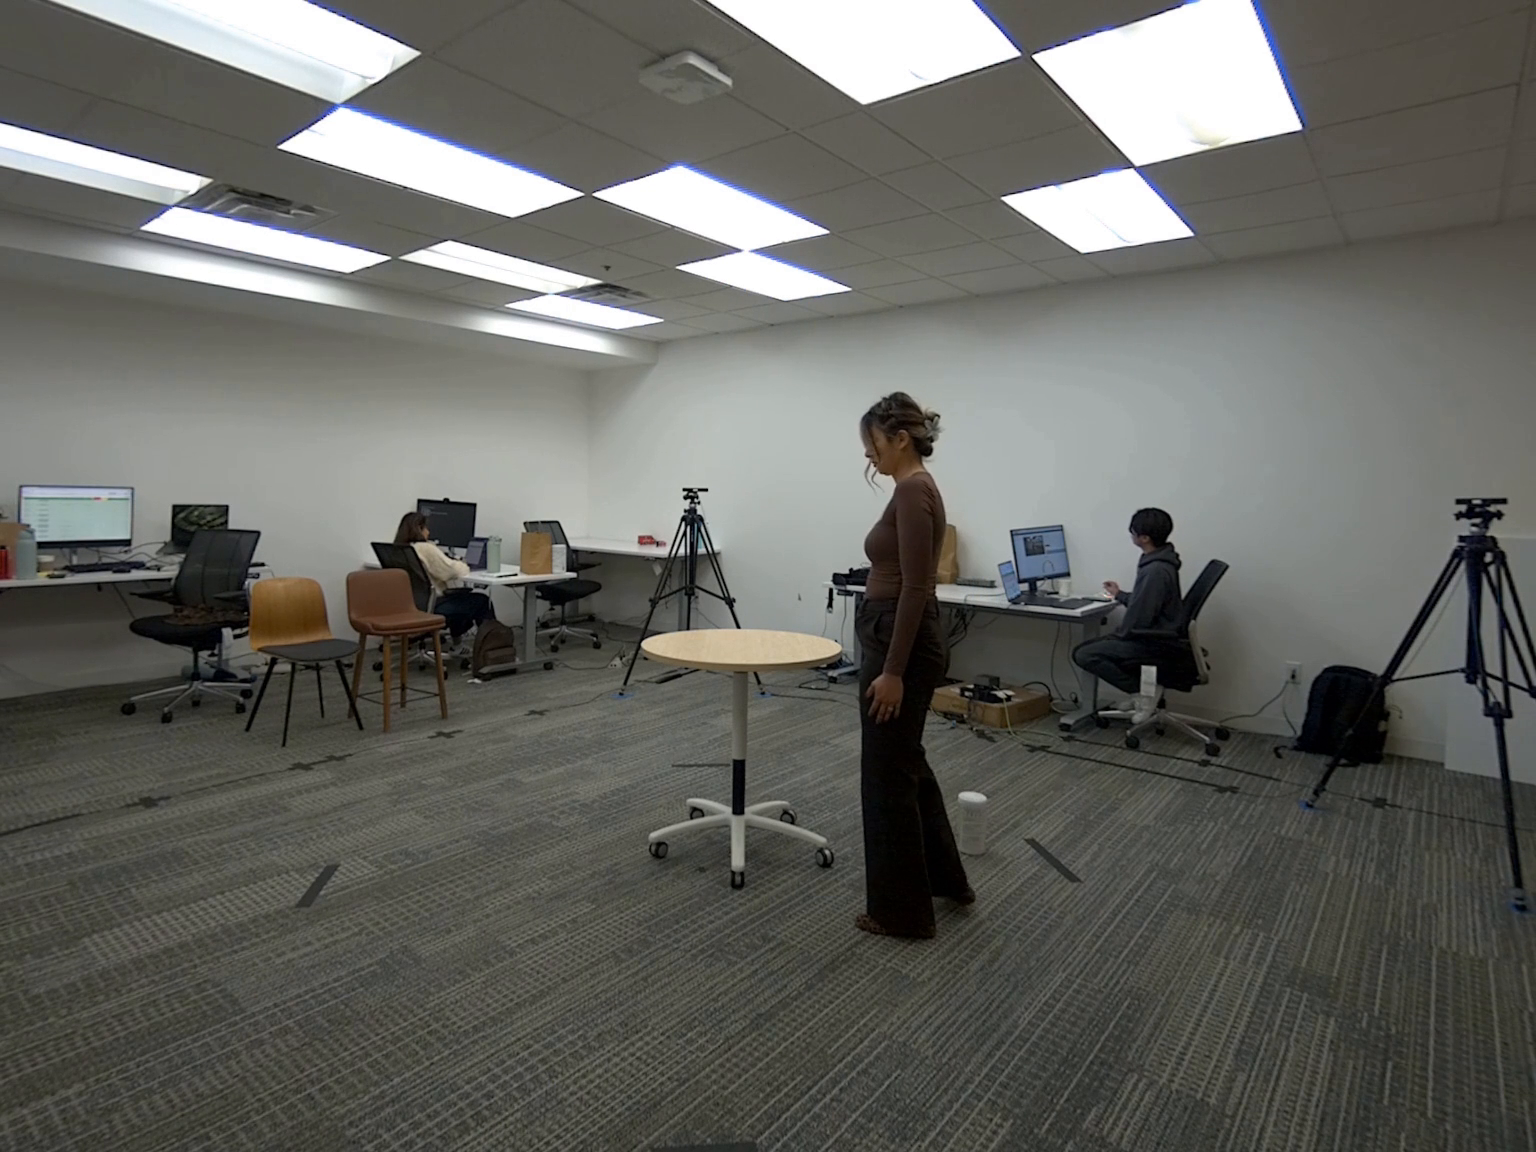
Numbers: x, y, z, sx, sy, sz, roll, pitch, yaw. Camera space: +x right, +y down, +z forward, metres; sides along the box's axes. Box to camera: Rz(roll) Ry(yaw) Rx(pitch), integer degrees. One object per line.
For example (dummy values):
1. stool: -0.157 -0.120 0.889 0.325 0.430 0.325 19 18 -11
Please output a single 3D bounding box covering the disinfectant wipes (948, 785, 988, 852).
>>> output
1. disinfectant wipes: 0.788 0.956 3.328 0.118 0.217 0.118 1 1 -2
